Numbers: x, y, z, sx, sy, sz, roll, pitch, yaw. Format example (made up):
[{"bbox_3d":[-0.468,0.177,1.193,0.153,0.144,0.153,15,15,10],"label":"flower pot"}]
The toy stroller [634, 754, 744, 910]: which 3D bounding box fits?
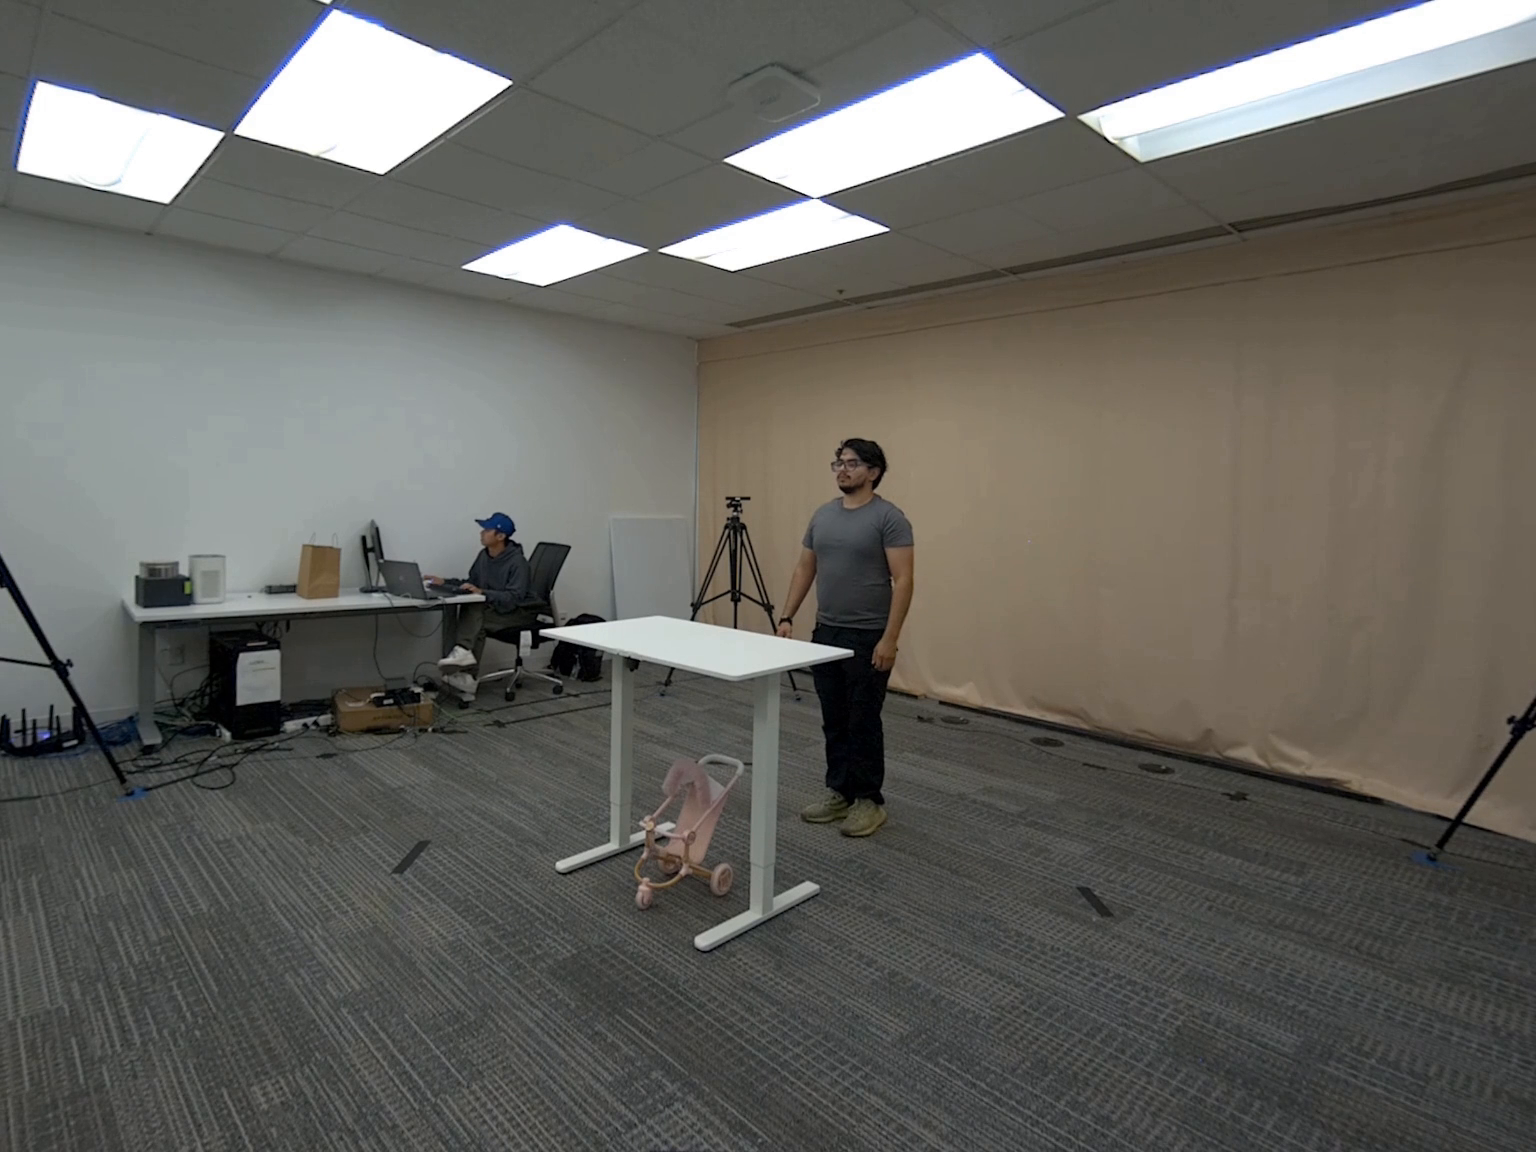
[{"bbox_3d":[-0.304,0.895,2.974,0.288,0.538,0.331,4,-12,44],"label":"toy stroller"}]
